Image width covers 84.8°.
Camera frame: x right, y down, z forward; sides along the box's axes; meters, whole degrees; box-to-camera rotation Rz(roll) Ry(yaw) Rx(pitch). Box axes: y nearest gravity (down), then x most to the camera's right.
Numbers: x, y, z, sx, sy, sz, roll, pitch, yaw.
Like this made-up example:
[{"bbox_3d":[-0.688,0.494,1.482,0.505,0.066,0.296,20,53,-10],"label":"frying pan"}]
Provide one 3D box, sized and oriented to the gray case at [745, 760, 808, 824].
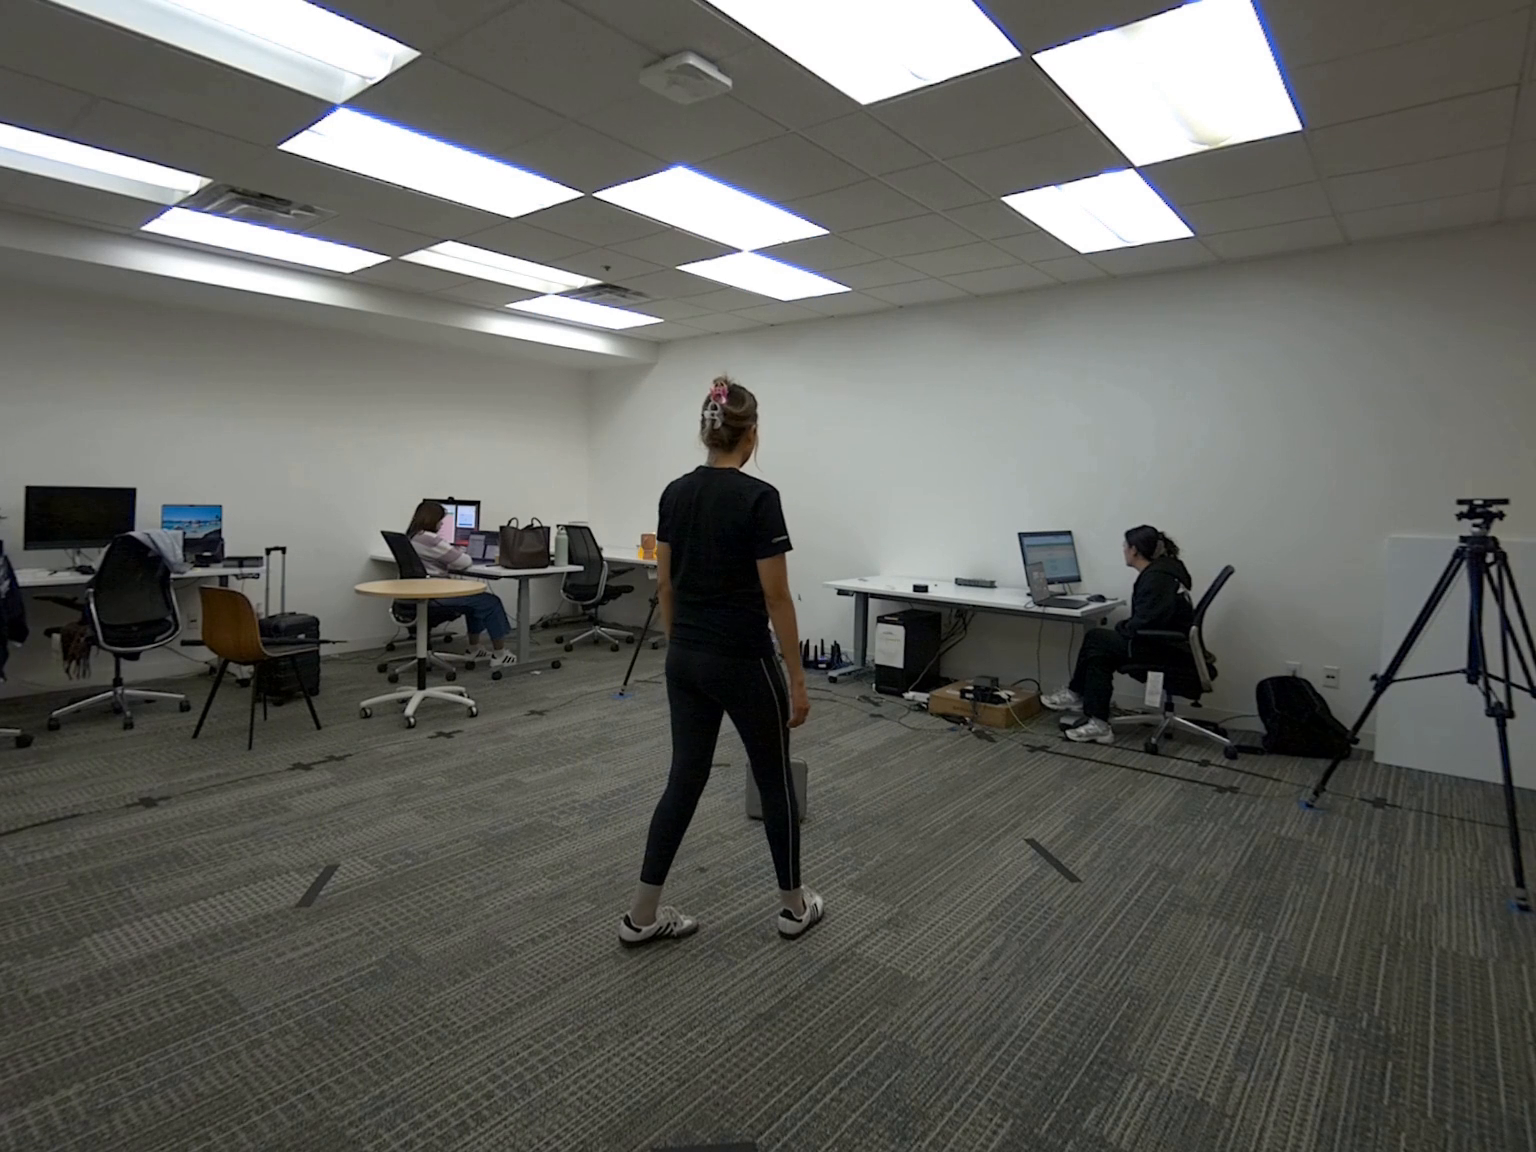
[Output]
[{"bbox_3d":[0.027,0.891,3.631,0.259,0.262,0.102,3,-7,9],"label":"gray case"}]
